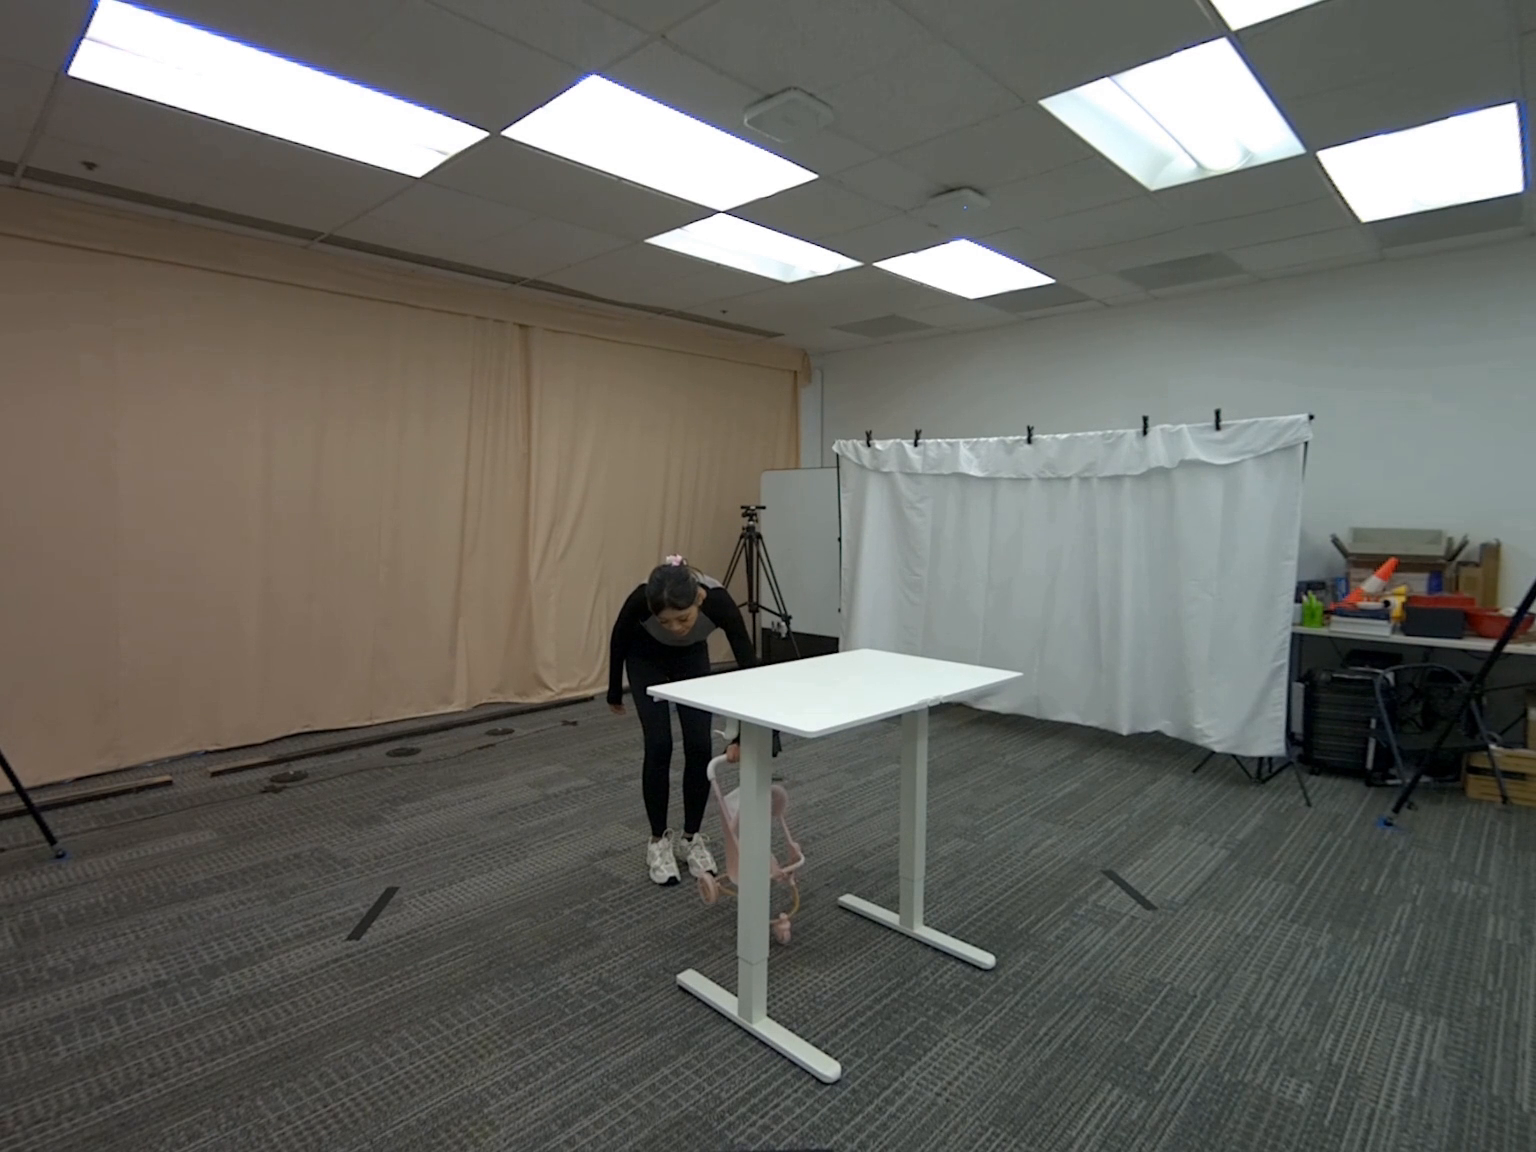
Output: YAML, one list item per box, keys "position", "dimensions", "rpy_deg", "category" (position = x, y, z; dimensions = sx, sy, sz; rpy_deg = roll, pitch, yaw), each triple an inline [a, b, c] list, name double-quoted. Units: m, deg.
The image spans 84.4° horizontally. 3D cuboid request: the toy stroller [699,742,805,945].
- position: [-0.030, 0.888, 2.736]
  dimensions: [0.274, 0.531, 0.353]
  rpy_deg: [-6, 12, -33]
  category: "toy stroller"
